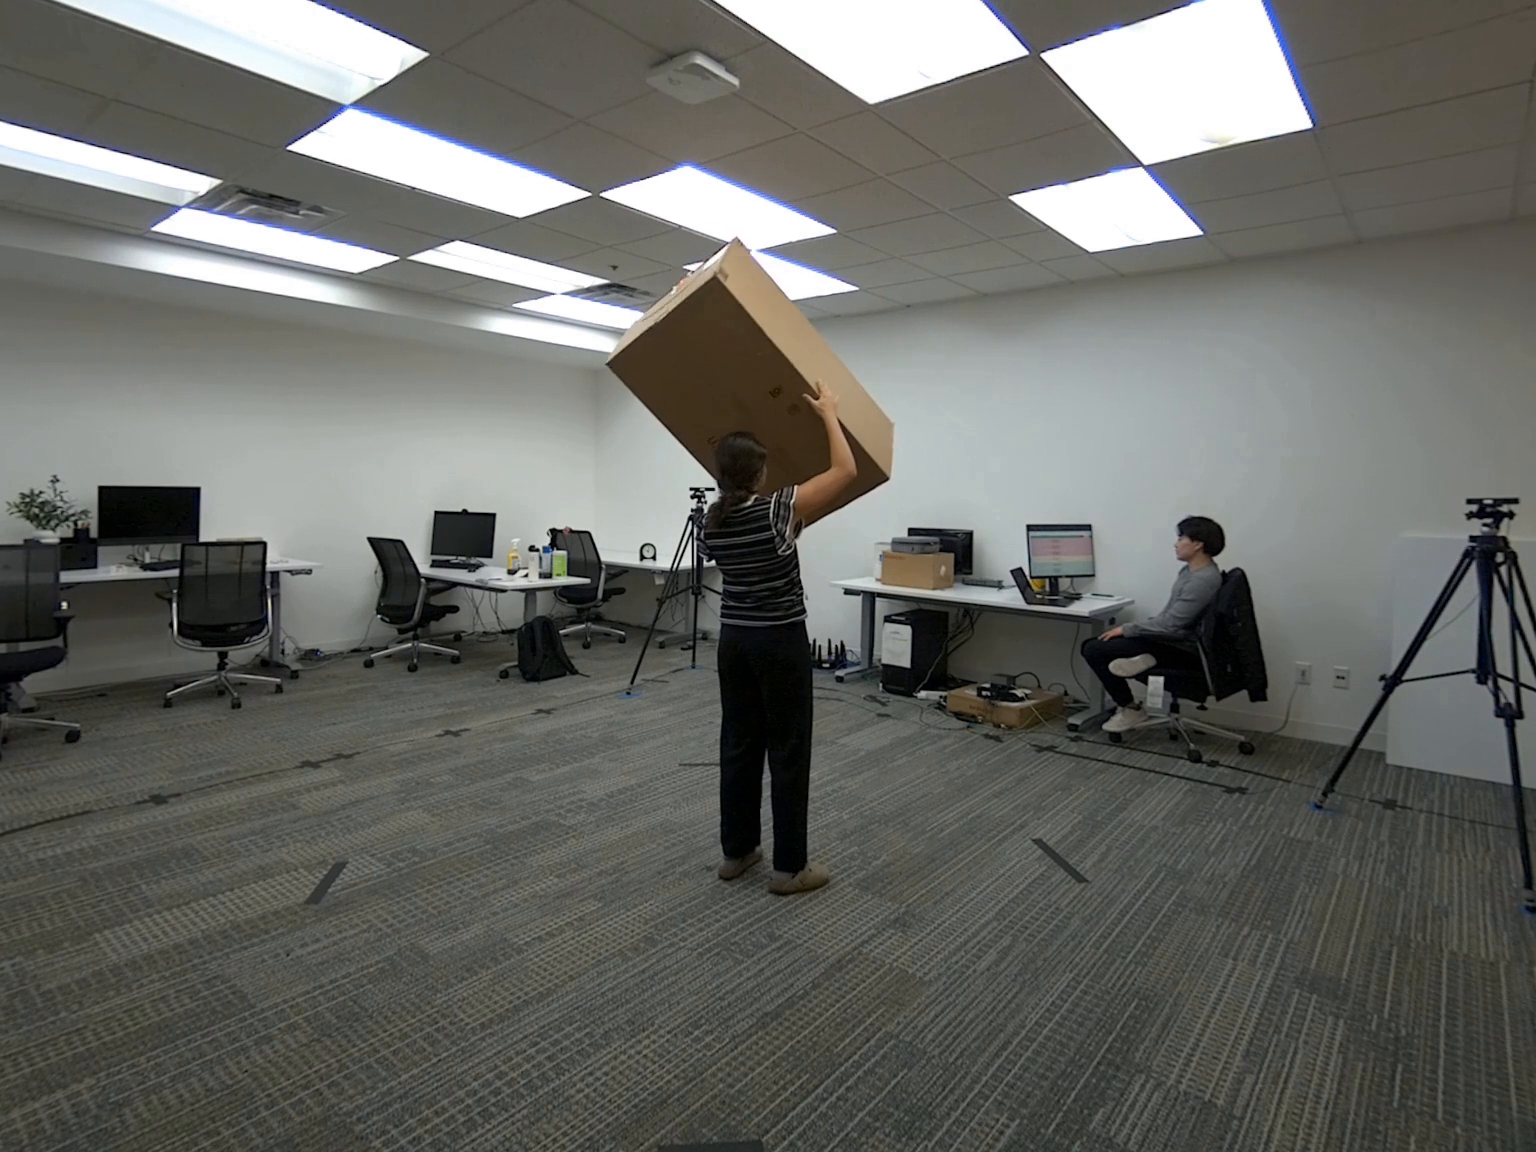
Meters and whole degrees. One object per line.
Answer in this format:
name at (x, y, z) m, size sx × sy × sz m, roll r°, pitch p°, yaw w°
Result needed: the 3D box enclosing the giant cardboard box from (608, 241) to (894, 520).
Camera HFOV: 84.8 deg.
giant cardboard box at (-0.049, -0.718, 3.379) m, size 0.584 × 0.997 × 0.434 m, roll -31°, pitch 25°, yaw 31°
